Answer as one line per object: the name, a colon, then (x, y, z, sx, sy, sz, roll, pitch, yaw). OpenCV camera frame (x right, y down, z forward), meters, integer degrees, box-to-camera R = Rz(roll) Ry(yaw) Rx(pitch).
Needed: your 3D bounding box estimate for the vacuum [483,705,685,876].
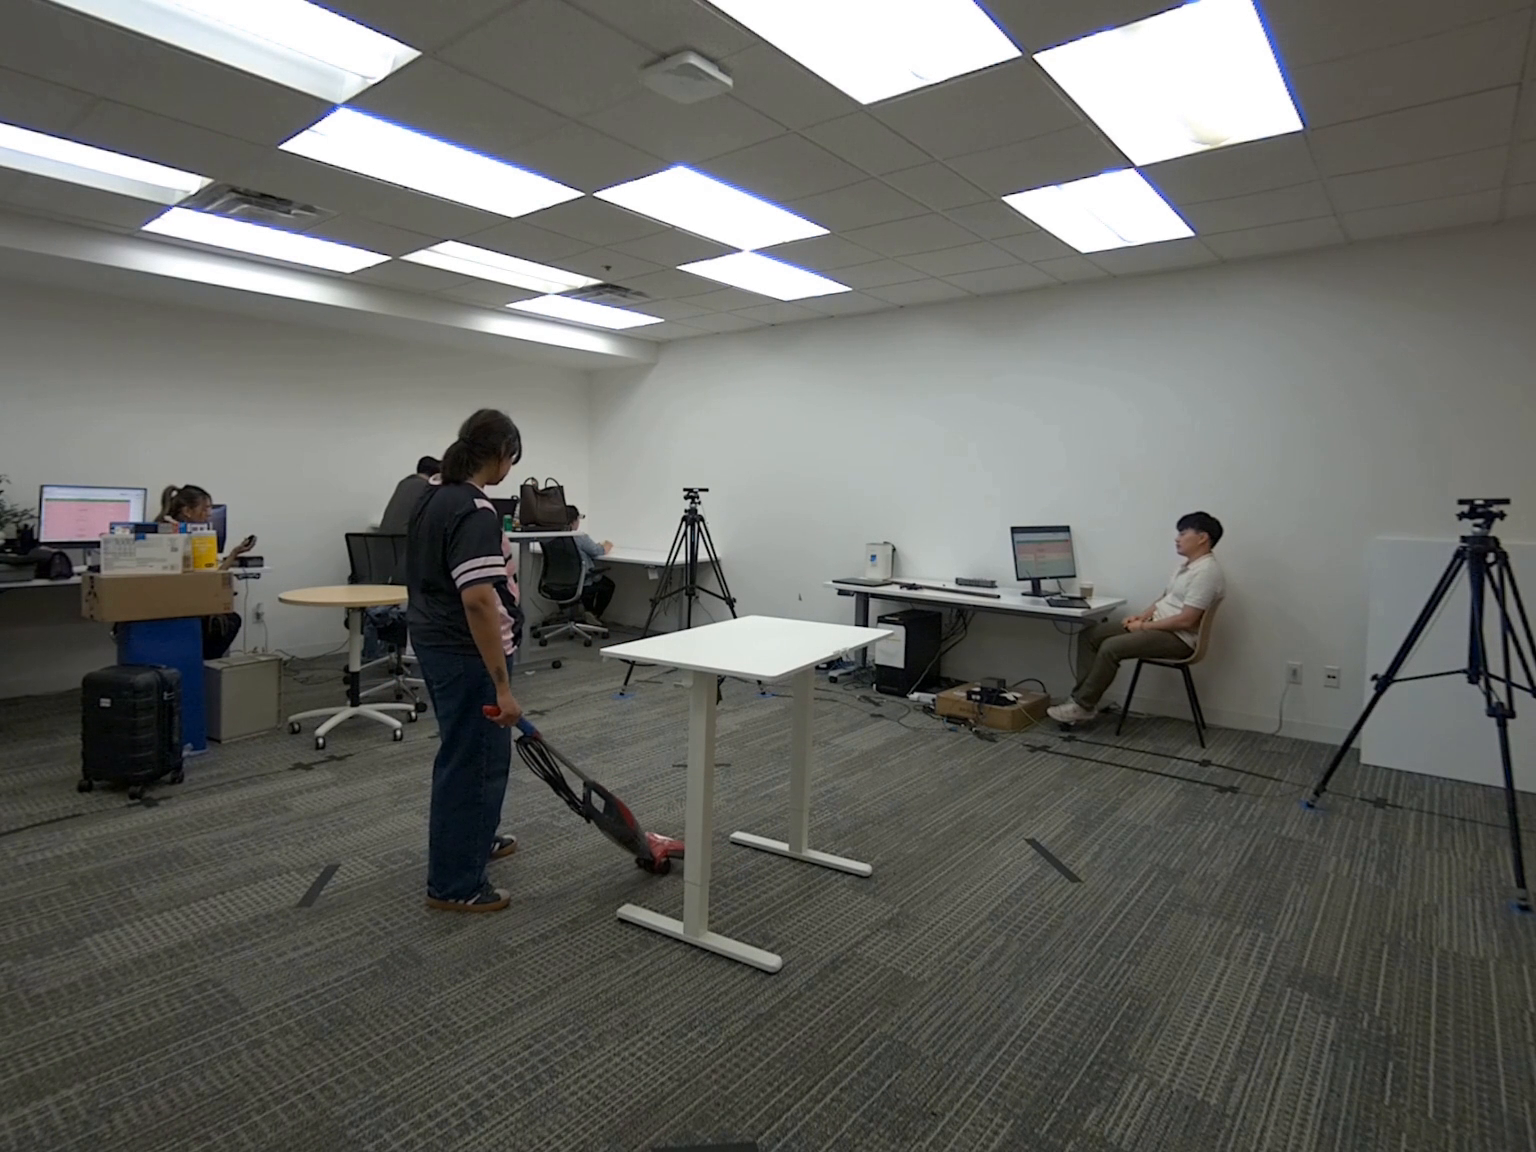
vacuum: (-0.629, 0.723, 2.809, 0.260, 0.146, 1.007, -3, -40, 34)
